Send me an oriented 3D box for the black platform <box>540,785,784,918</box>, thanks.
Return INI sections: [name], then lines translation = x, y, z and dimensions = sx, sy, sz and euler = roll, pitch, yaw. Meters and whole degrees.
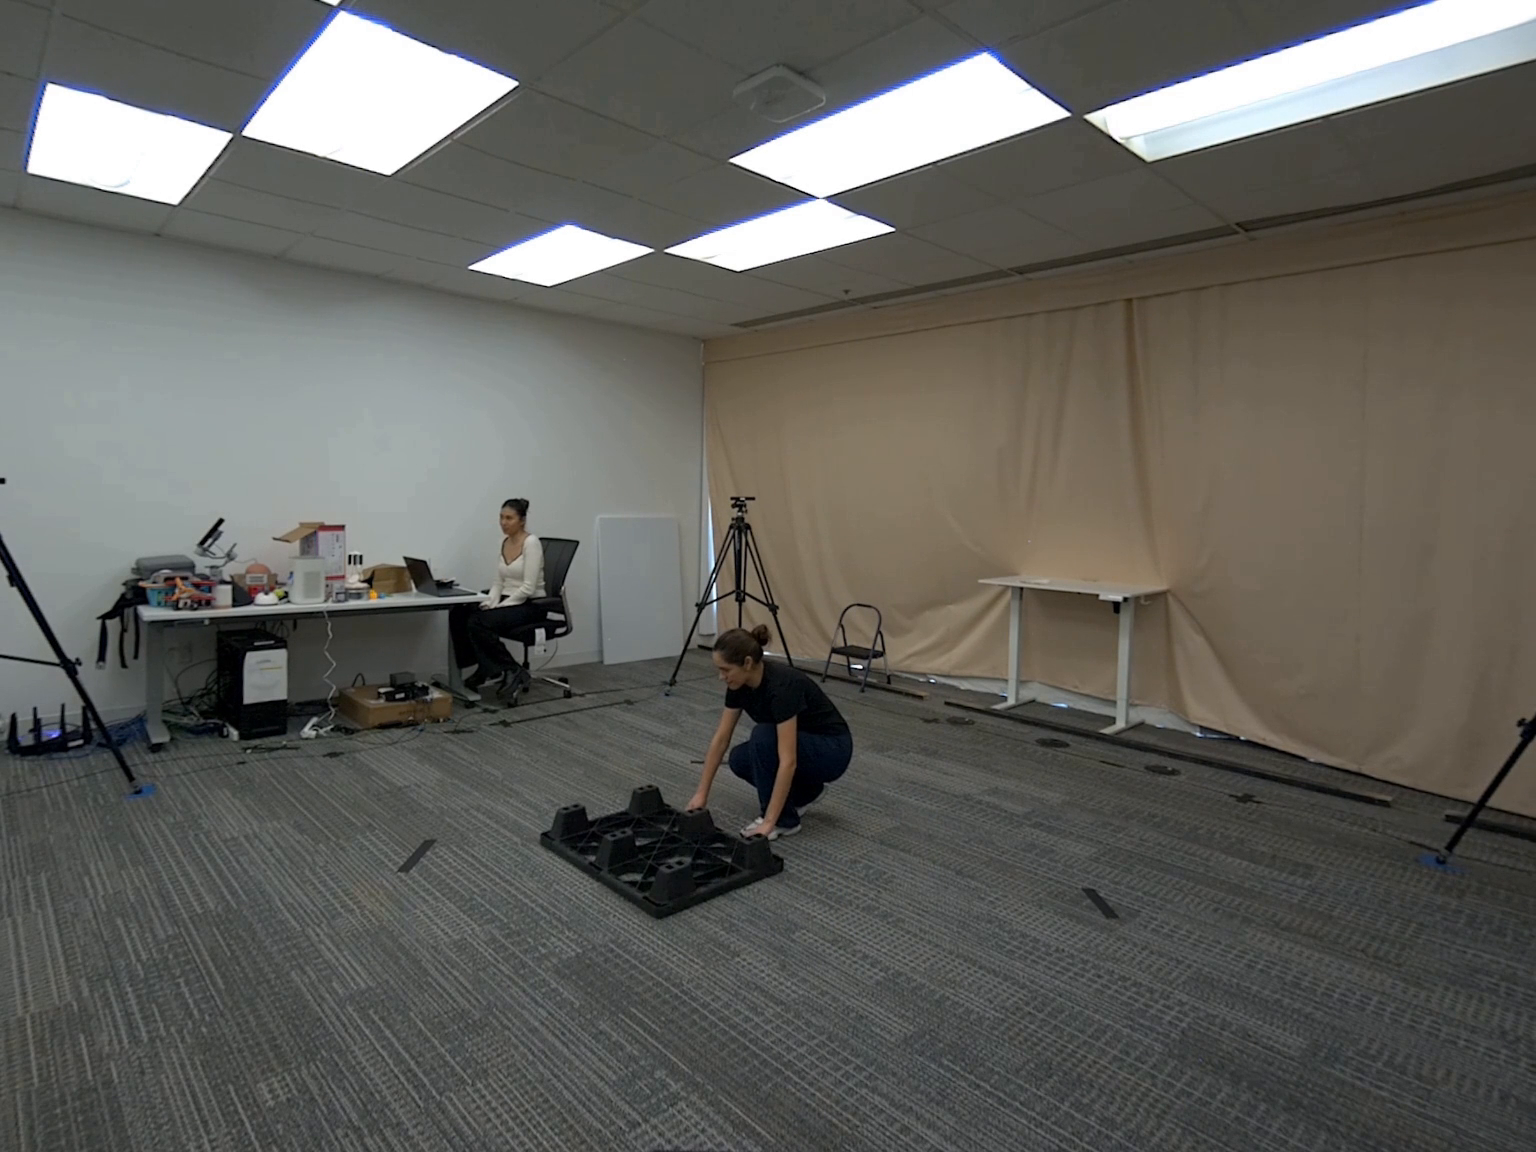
[black platform]
translation = -0.432, 1.022, 3.238
dimensions = 0.591, 0.143, 0.826
euler = -4, 7, -43
